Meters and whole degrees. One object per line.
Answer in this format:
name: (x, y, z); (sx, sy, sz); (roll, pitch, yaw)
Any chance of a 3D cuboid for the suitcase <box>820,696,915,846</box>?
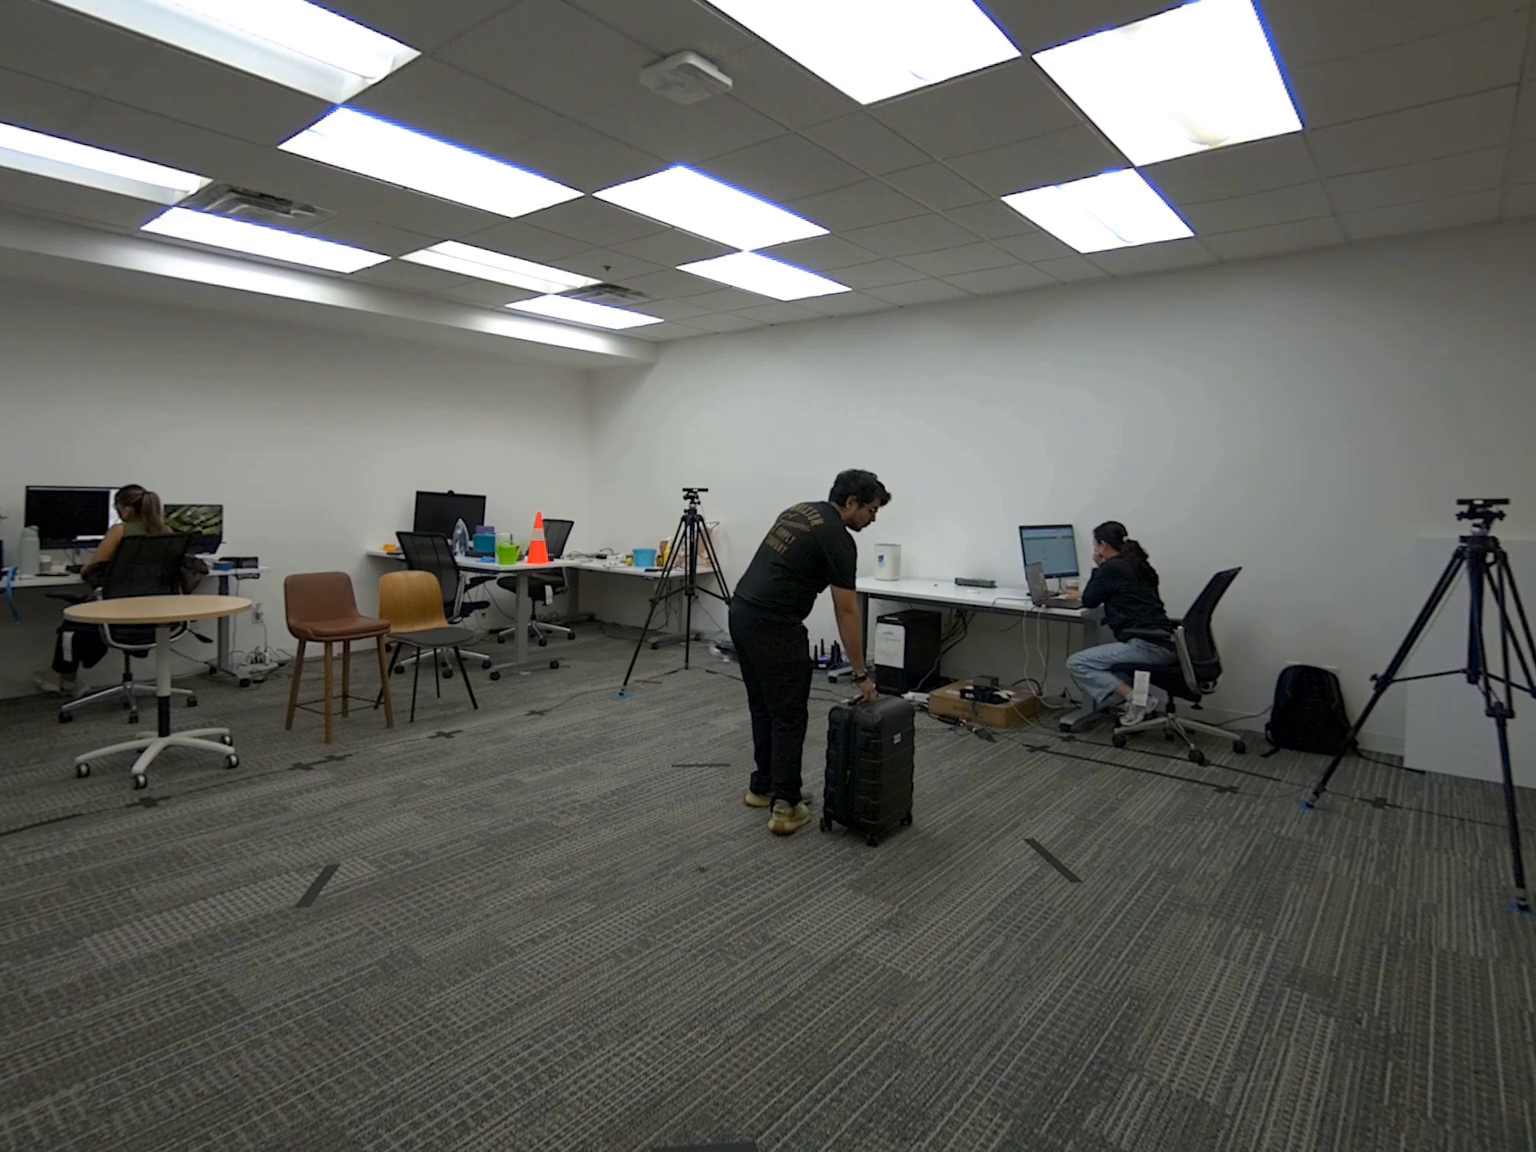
suitcase: (0.412, 0.770, 3.503); (0.257, 0.547, 0.365); (6, 7, 38)
